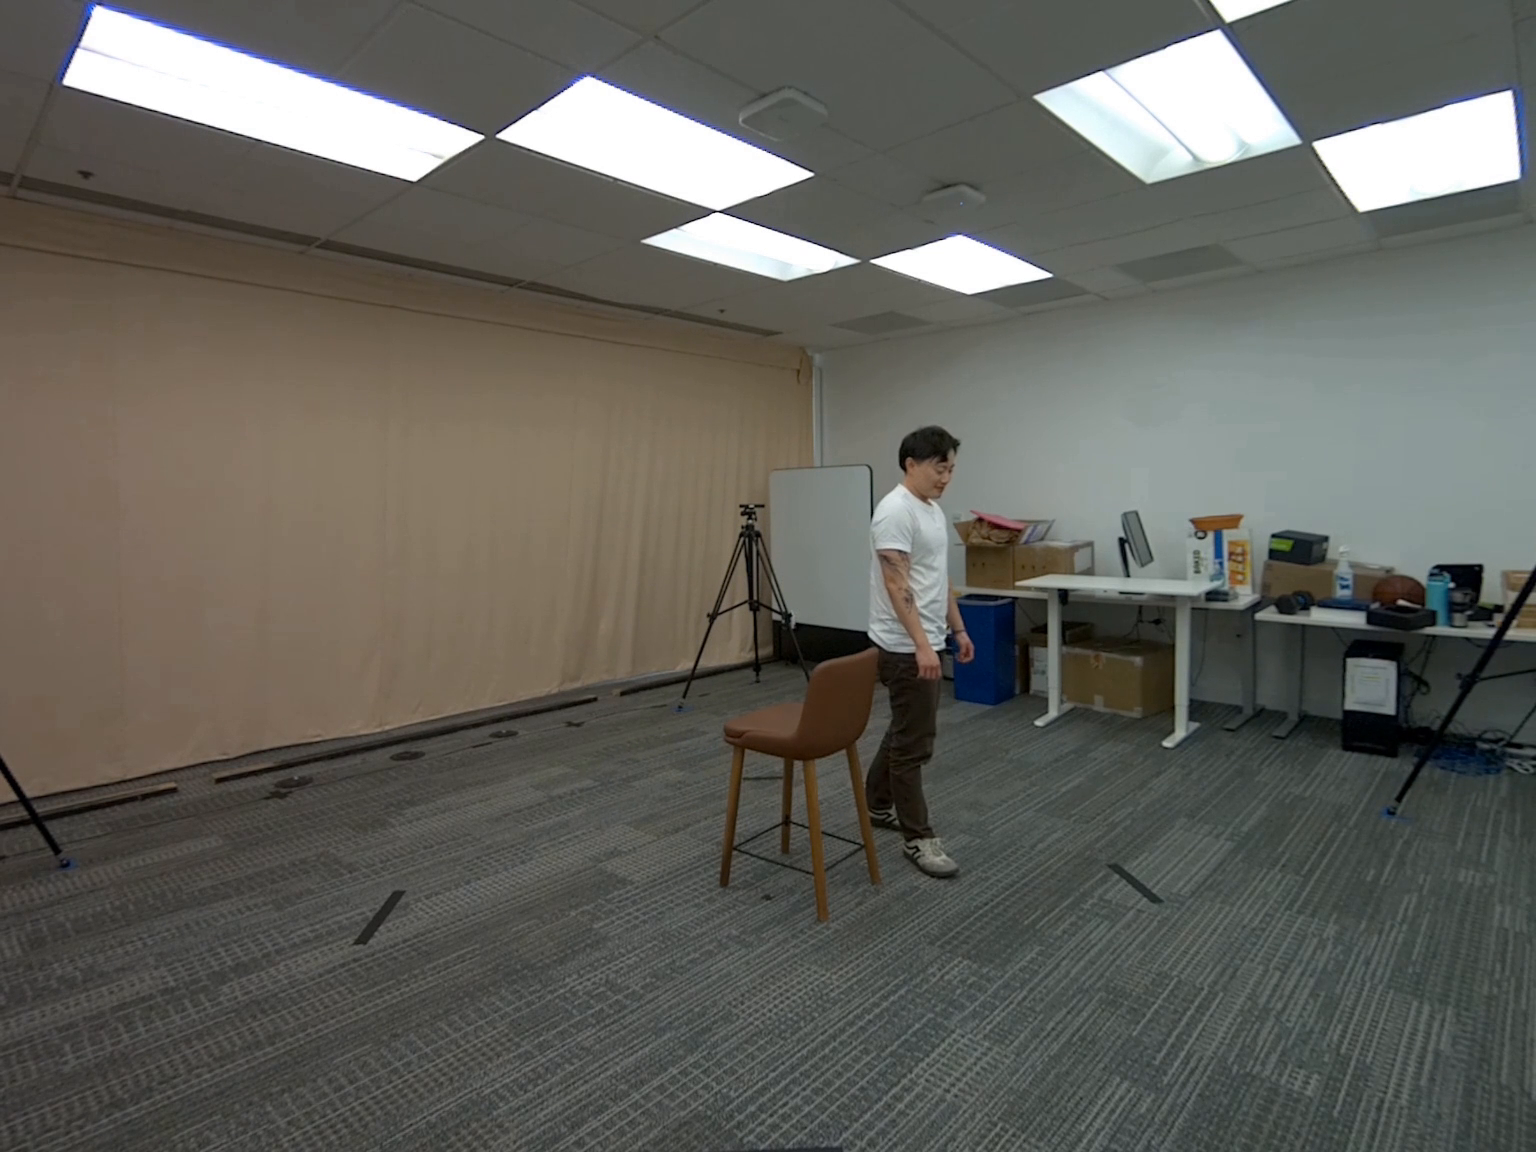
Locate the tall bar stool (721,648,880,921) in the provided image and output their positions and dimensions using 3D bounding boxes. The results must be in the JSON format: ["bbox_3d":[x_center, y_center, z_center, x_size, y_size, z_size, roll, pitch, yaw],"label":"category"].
[{"bbox_3d":[0.123,0.695,3.051,0.483,0.887,0.443,4,6,38],"label":"tall bar stool"}]
